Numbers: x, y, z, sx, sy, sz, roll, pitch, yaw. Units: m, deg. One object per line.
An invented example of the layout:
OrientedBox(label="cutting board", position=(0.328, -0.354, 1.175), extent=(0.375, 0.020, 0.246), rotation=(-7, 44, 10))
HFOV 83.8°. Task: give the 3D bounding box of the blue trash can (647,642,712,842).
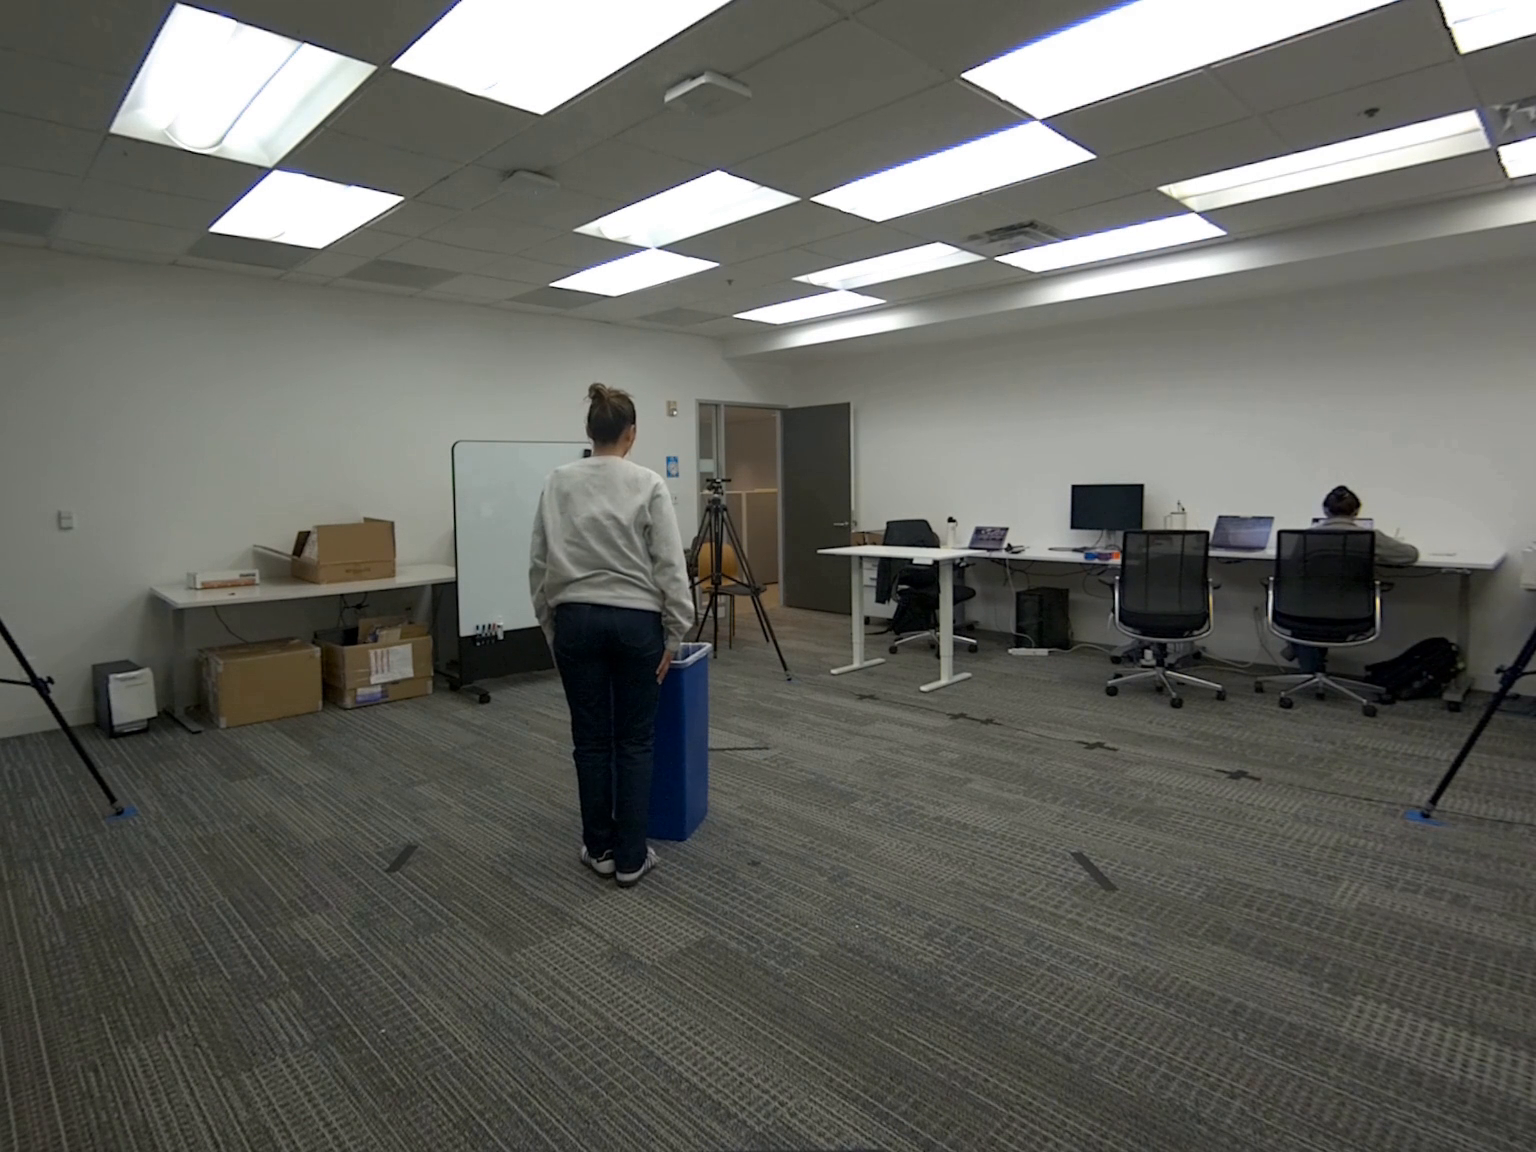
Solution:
OrientedBox(label="blue trash can", position=(-0.436, 0.655, 3.449), extent=(0.384, 0.711, 0.369), rotation=(0, 4, 15))
